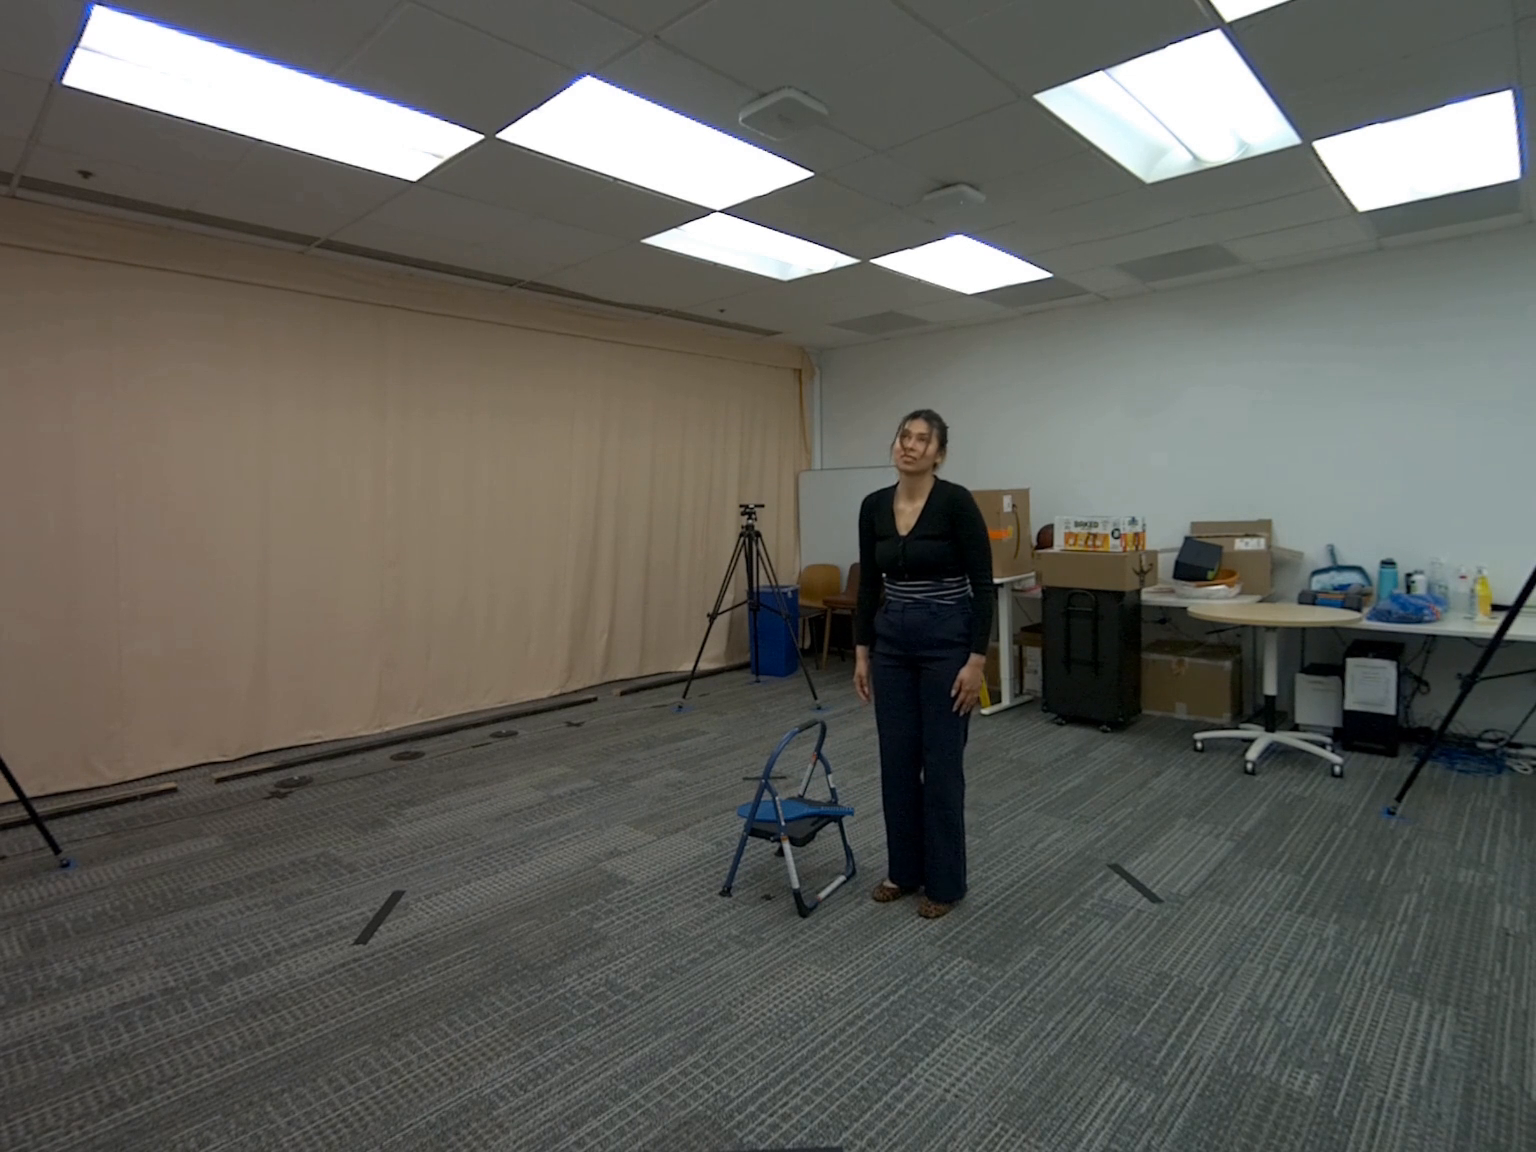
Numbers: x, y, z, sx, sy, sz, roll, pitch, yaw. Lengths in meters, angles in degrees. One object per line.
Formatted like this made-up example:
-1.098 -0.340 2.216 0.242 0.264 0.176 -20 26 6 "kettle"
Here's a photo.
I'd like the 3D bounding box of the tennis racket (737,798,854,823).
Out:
0.101 0.862 3.082 0.436 0.032 0.213 -2 3 6 "tennis racket"
